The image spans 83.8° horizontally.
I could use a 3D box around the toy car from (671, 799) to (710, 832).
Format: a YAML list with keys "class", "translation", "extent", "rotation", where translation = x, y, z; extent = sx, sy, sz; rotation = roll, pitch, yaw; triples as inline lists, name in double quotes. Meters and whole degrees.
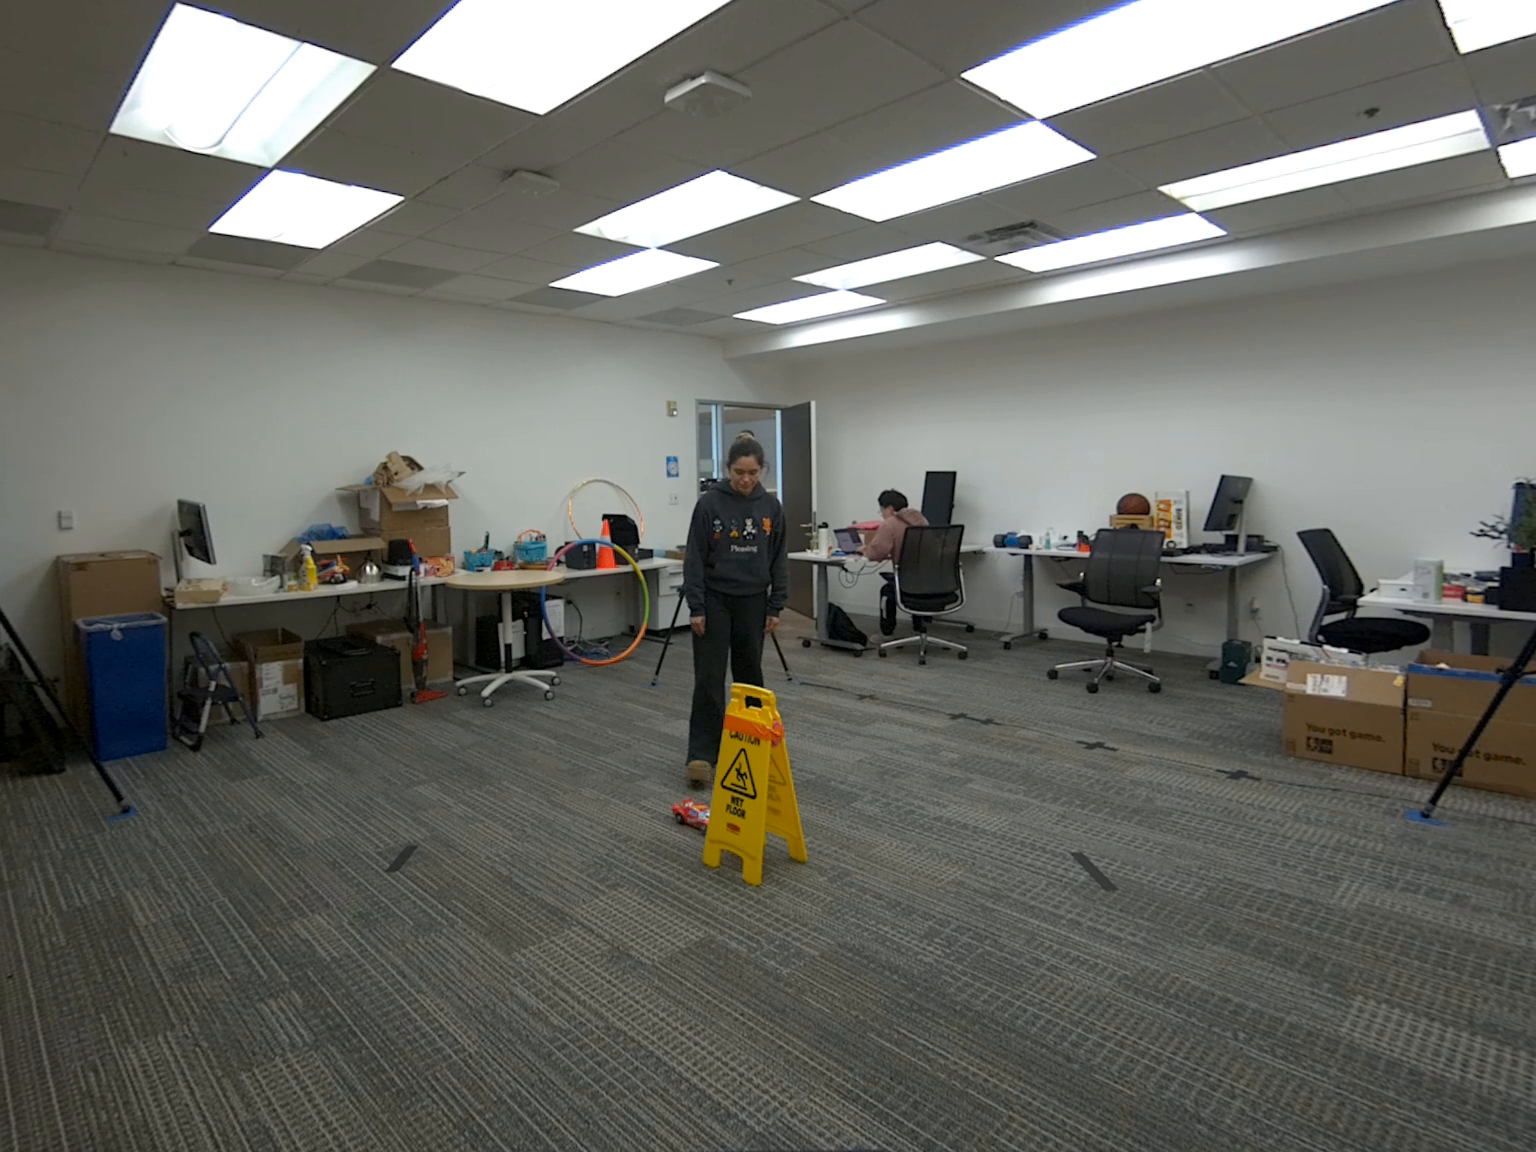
- class: "toy car"
  translation: [-0.287, 0.981, 3.455]
  extent: [0.127, 0.082, 0.264]
  rotation: [-6, 18, -43]
